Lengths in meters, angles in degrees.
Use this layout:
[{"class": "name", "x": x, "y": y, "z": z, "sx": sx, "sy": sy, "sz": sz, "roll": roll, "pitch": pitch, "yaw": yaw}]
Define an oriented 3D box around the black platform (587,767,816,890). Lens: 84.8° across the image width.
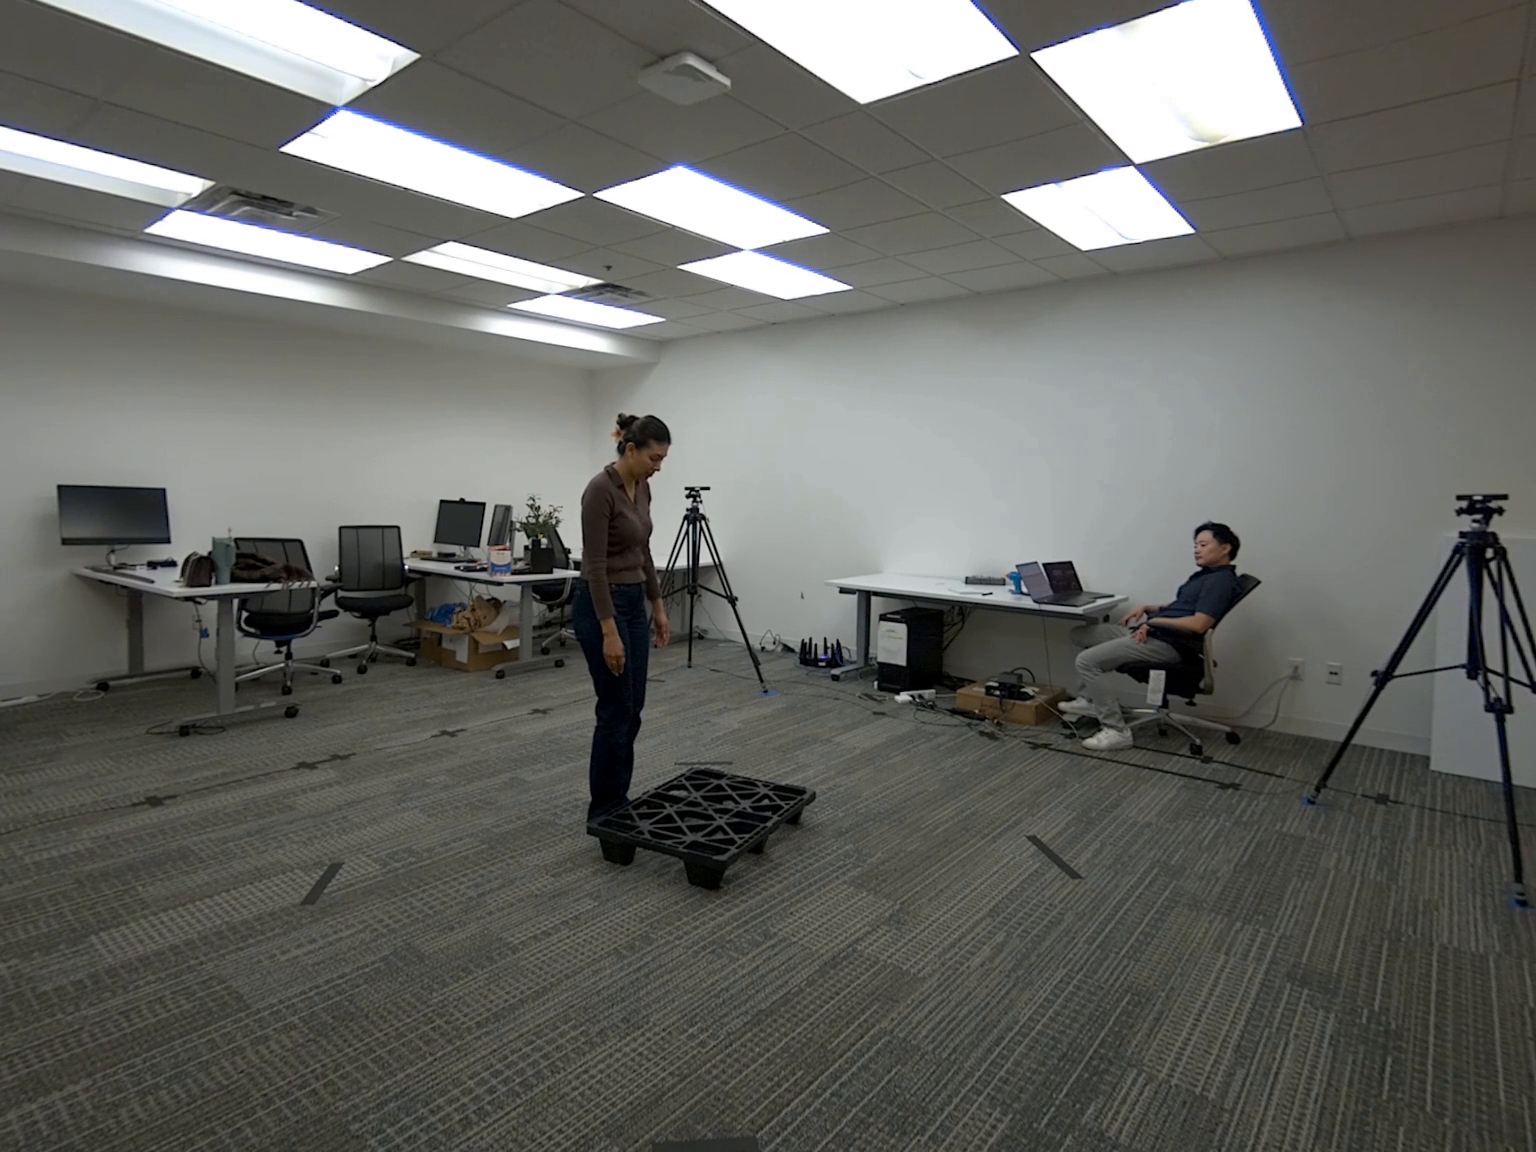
[{"class": "black platform", "x": -0.241, "y": 0.972, "z": 3.360, "sx": 0.622, "sy": 0.143, "sz": 0.786, "roll": 4, "pitch": 7, "yaw": 27}]
